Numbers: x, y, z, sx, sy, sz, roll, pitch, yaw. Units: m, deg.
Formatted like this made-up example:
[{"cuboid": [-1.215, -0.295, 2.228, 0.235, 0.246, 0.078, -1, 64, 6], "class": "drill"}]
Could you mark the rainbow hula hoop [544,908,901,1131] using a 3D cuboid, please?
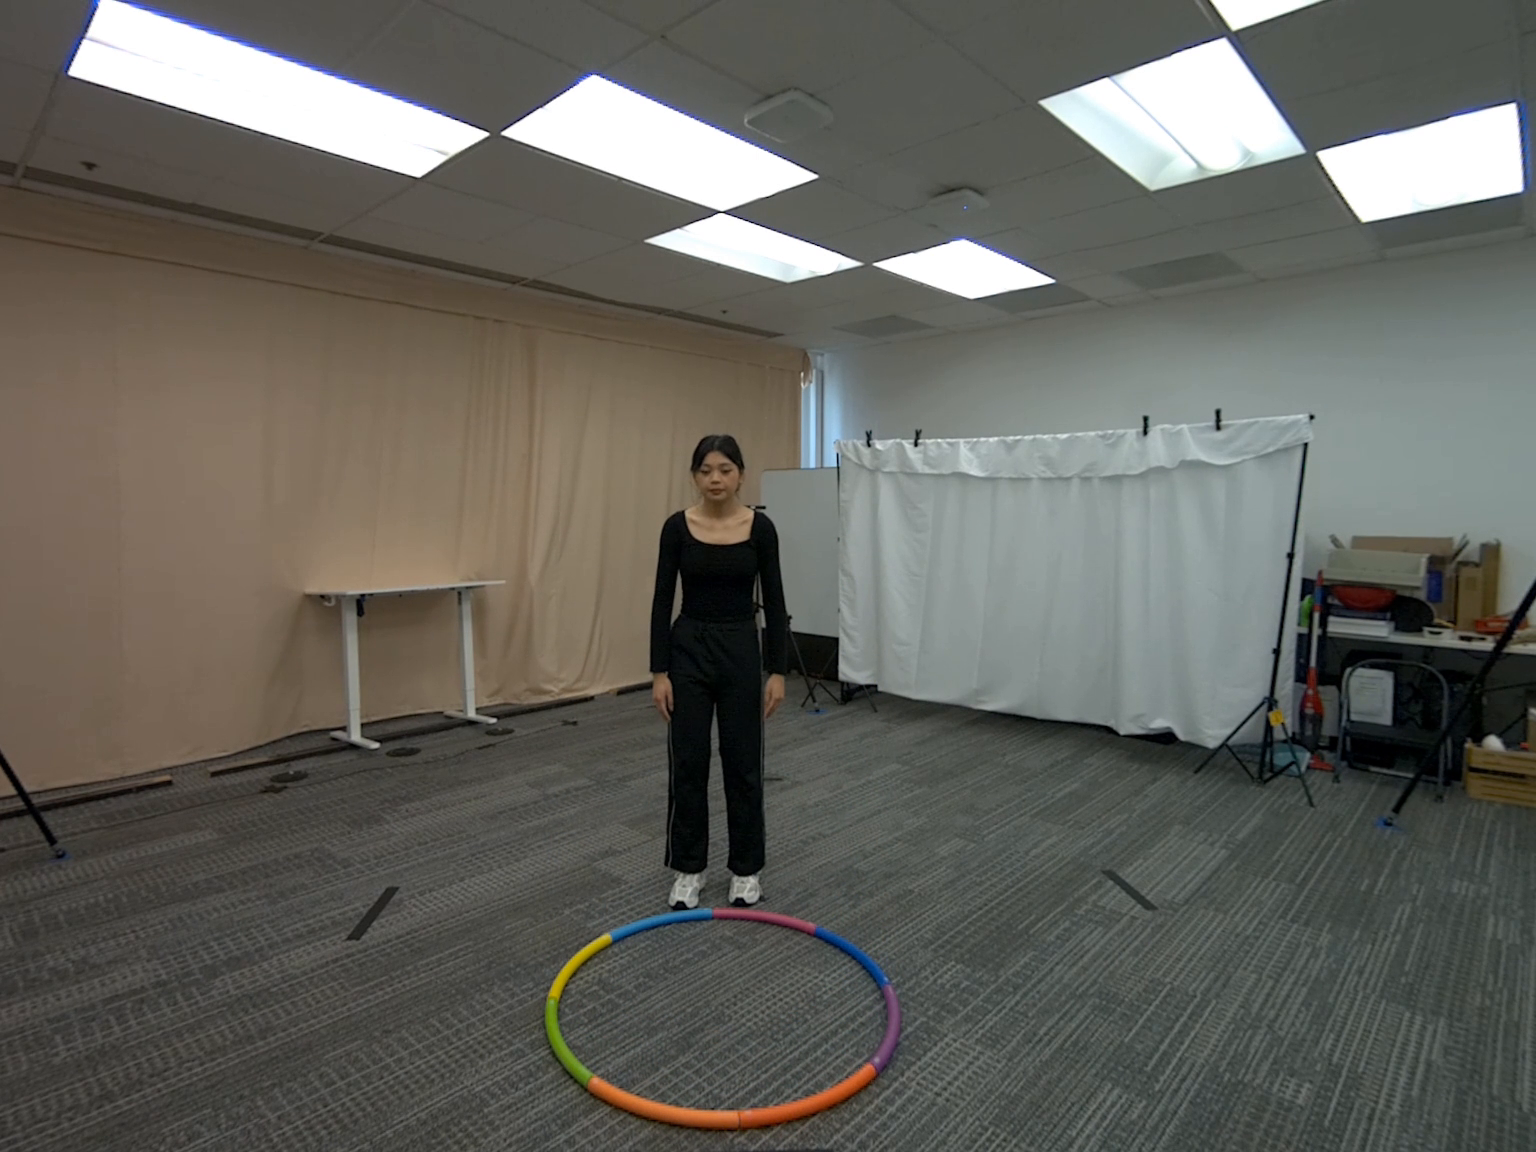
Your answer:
[{"cuboid": [-0.125, 1.171, 2.364, 0.978, 0.035, 0.982, 0, 4, -2], "class": "rainbow hula hoop"}]
